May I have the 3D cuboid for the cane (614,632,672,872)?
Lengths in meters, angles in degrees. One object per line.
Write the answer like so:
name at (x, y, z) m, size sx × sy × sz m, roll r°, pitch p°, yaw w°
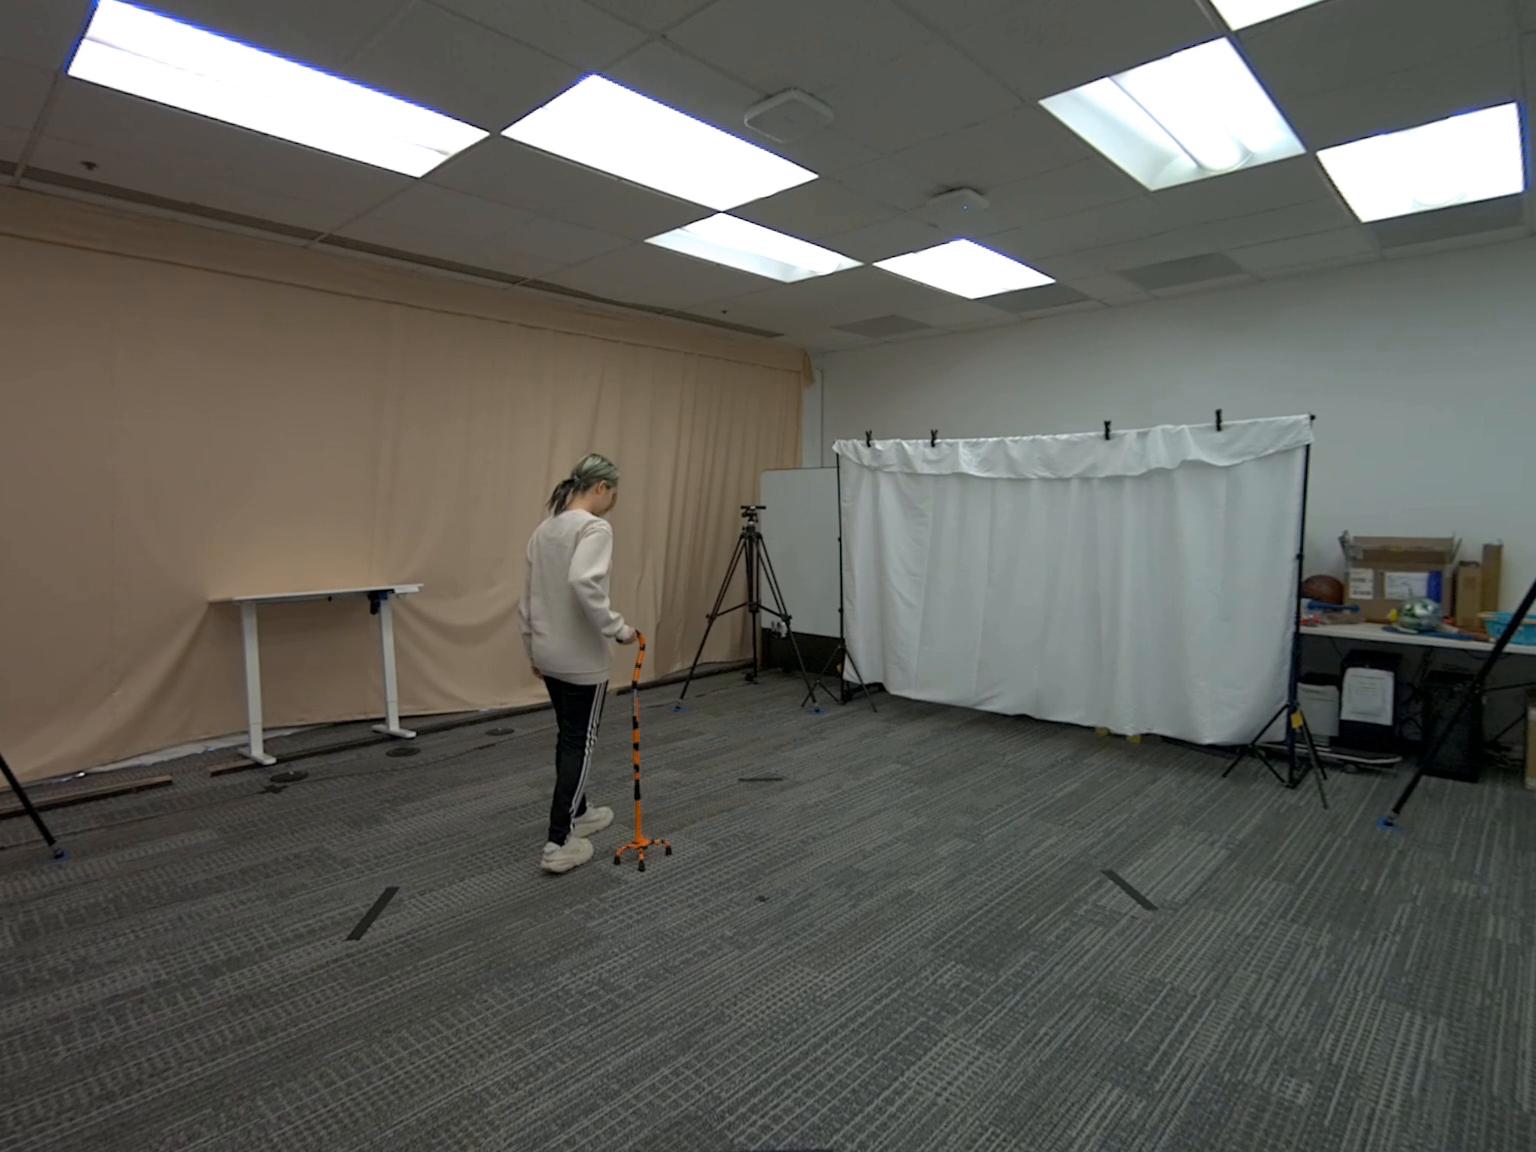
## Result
cane at (-0.495, 0.668, 3.295) m, size 0.156 × 0.906 × 0.201 m, roll 2°, pitch 4°, yaw 29°
